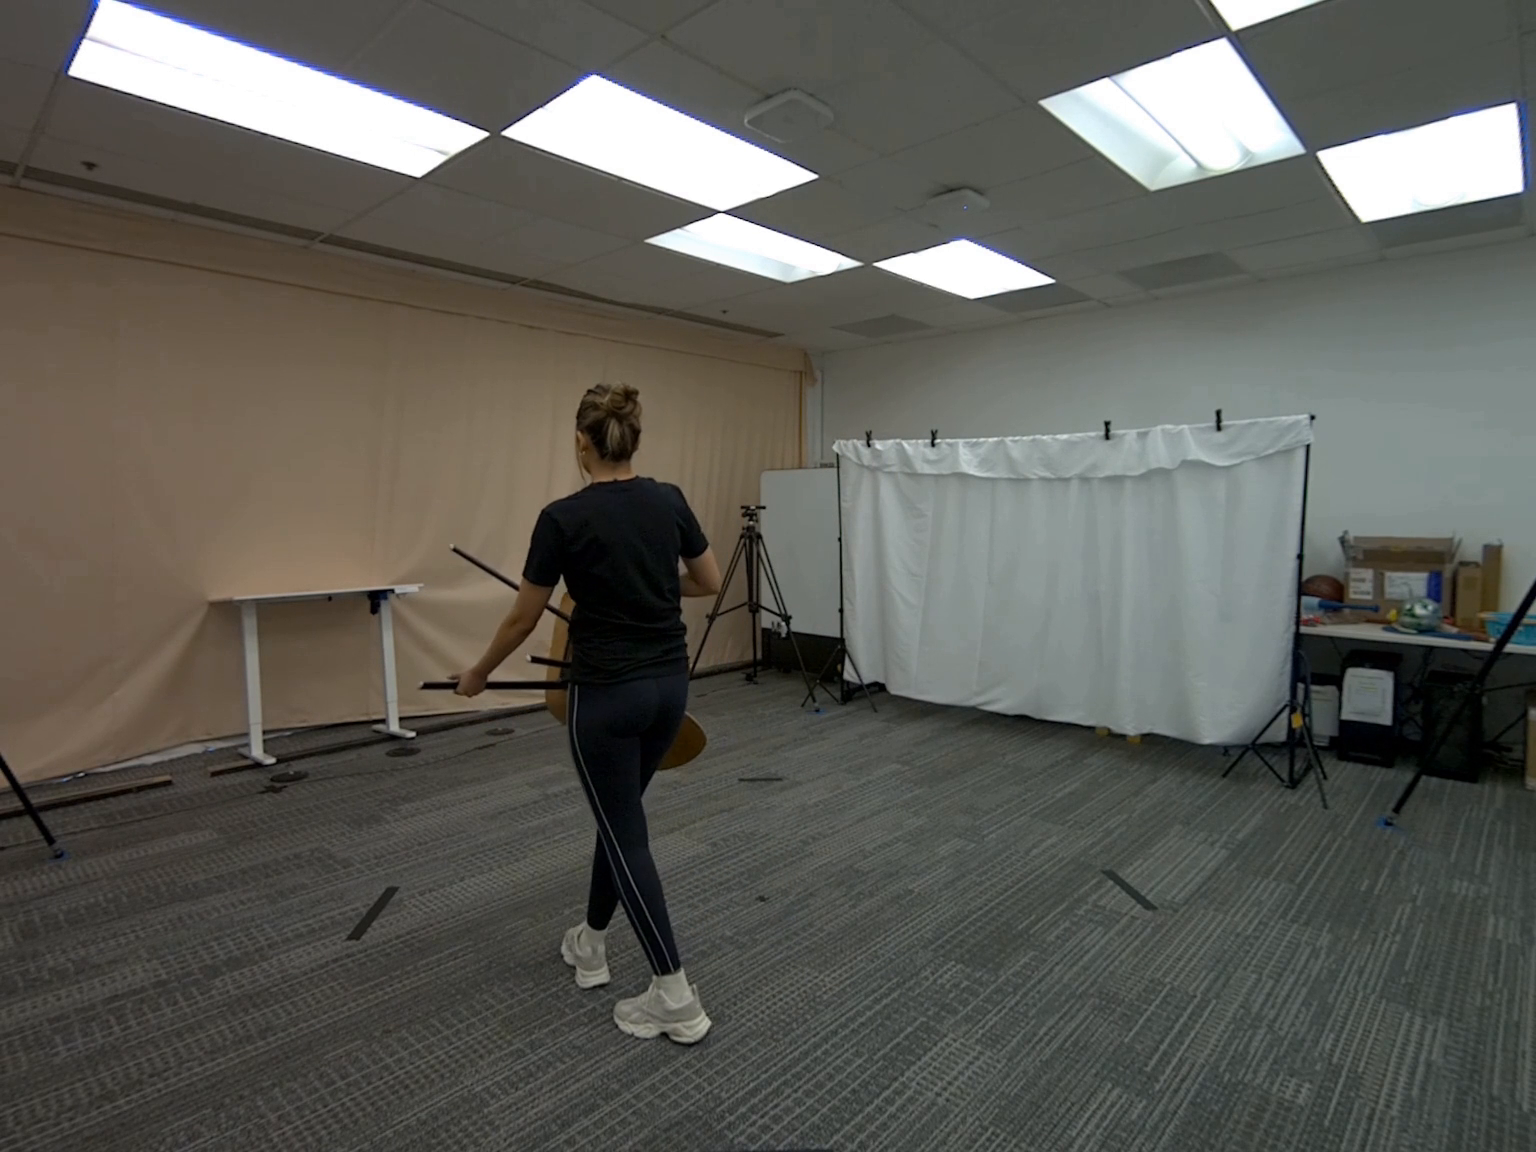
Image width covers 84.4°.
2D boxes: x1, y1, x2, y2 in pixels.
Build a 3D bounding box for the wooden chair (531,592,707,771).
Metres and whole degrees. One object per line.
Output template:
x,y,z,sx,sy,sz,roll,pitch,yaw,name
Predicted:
-0.543,0.218,2.621,0.489,0.530,0.845,-16,-37,31,wooden chair
